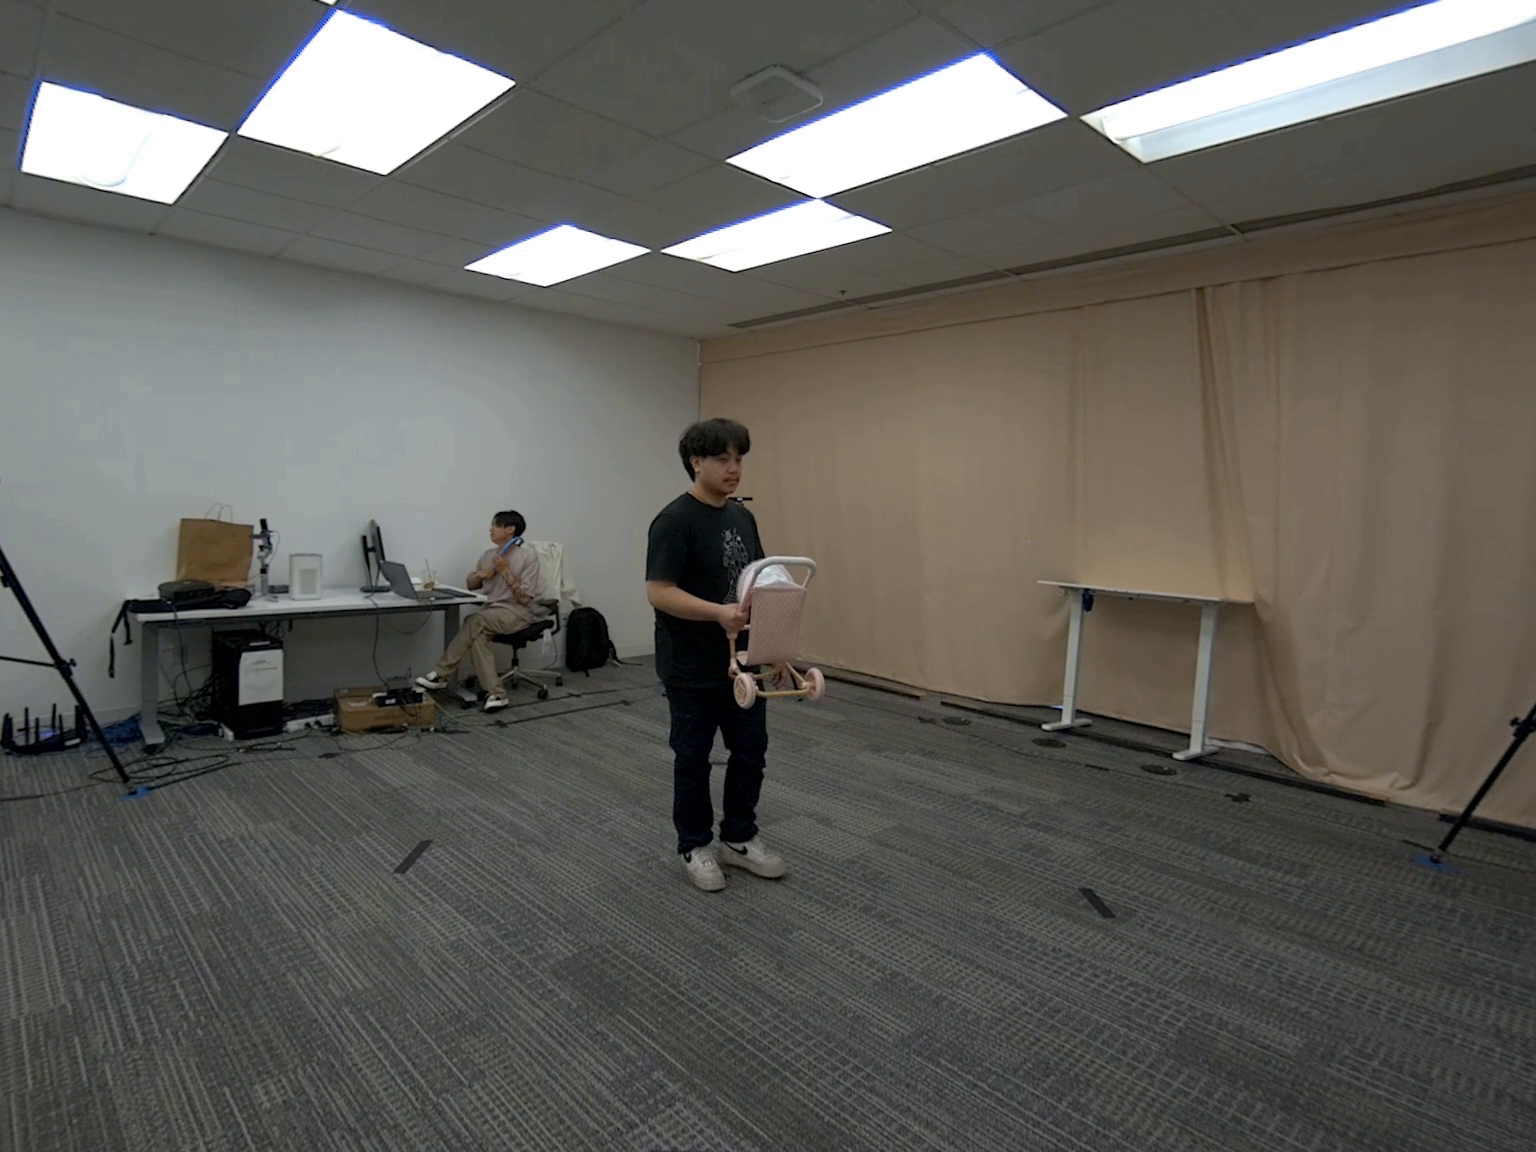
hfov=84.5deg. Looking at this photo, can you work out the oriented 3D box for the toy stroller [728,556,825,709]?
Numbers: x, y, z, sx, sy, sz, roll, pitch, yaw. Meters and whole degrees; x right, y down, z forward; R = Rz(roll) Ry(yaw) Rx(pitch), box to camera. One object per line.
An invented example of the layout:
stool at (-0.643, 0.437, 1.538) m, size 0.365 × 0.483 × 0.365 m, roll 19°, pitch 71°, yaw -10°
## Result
toy stroller at (-0.003, 0.189, 2.753) m, size 0.277 × 0.533 × 0.347 m, roll -1°, pitch 6°, yaw -19°
